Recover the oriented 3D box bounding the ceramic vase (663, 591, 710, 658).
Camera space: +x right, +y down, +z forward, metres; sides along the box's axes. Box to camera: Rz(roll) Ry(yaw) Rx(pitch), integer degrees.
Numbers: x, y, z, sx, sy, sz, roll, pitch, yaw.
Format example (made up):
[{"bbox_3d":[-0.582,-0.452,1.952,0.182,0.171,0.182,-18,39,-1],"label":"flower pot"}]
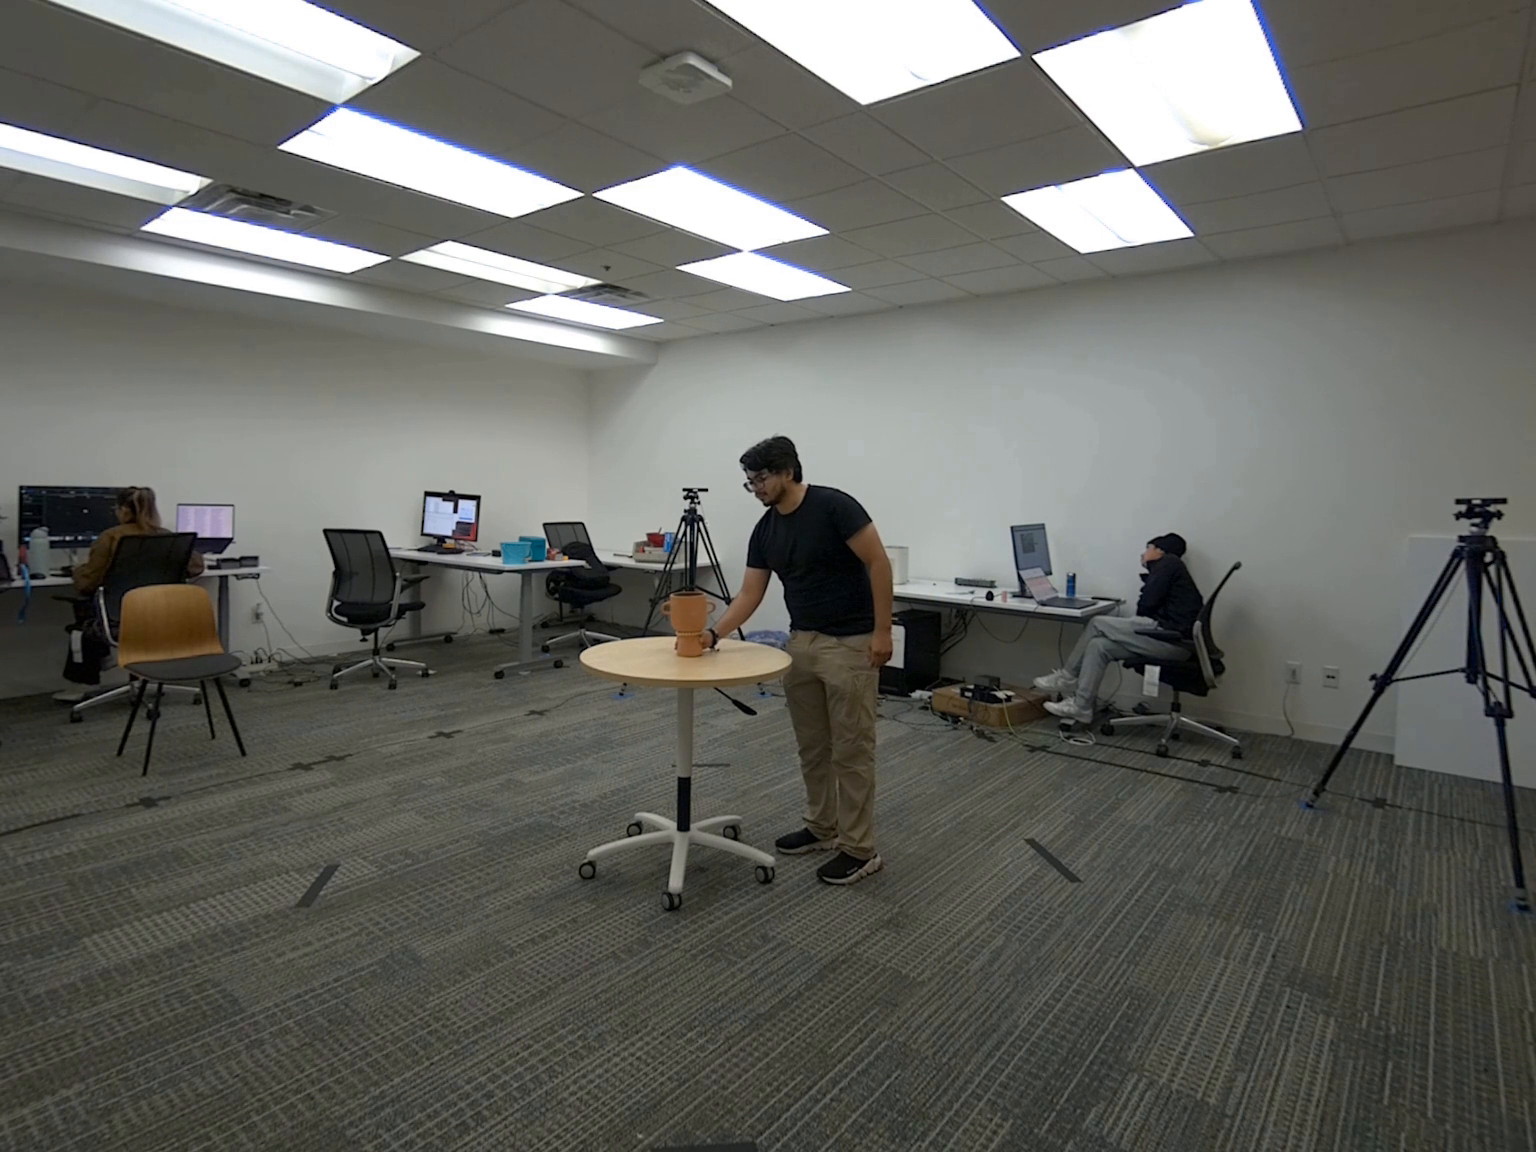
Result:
[{"bbox_3d":[-0.305,0.171,3.104,0.164,0.219,0.131,3,7,35],"label":"ceramic vase"}]
